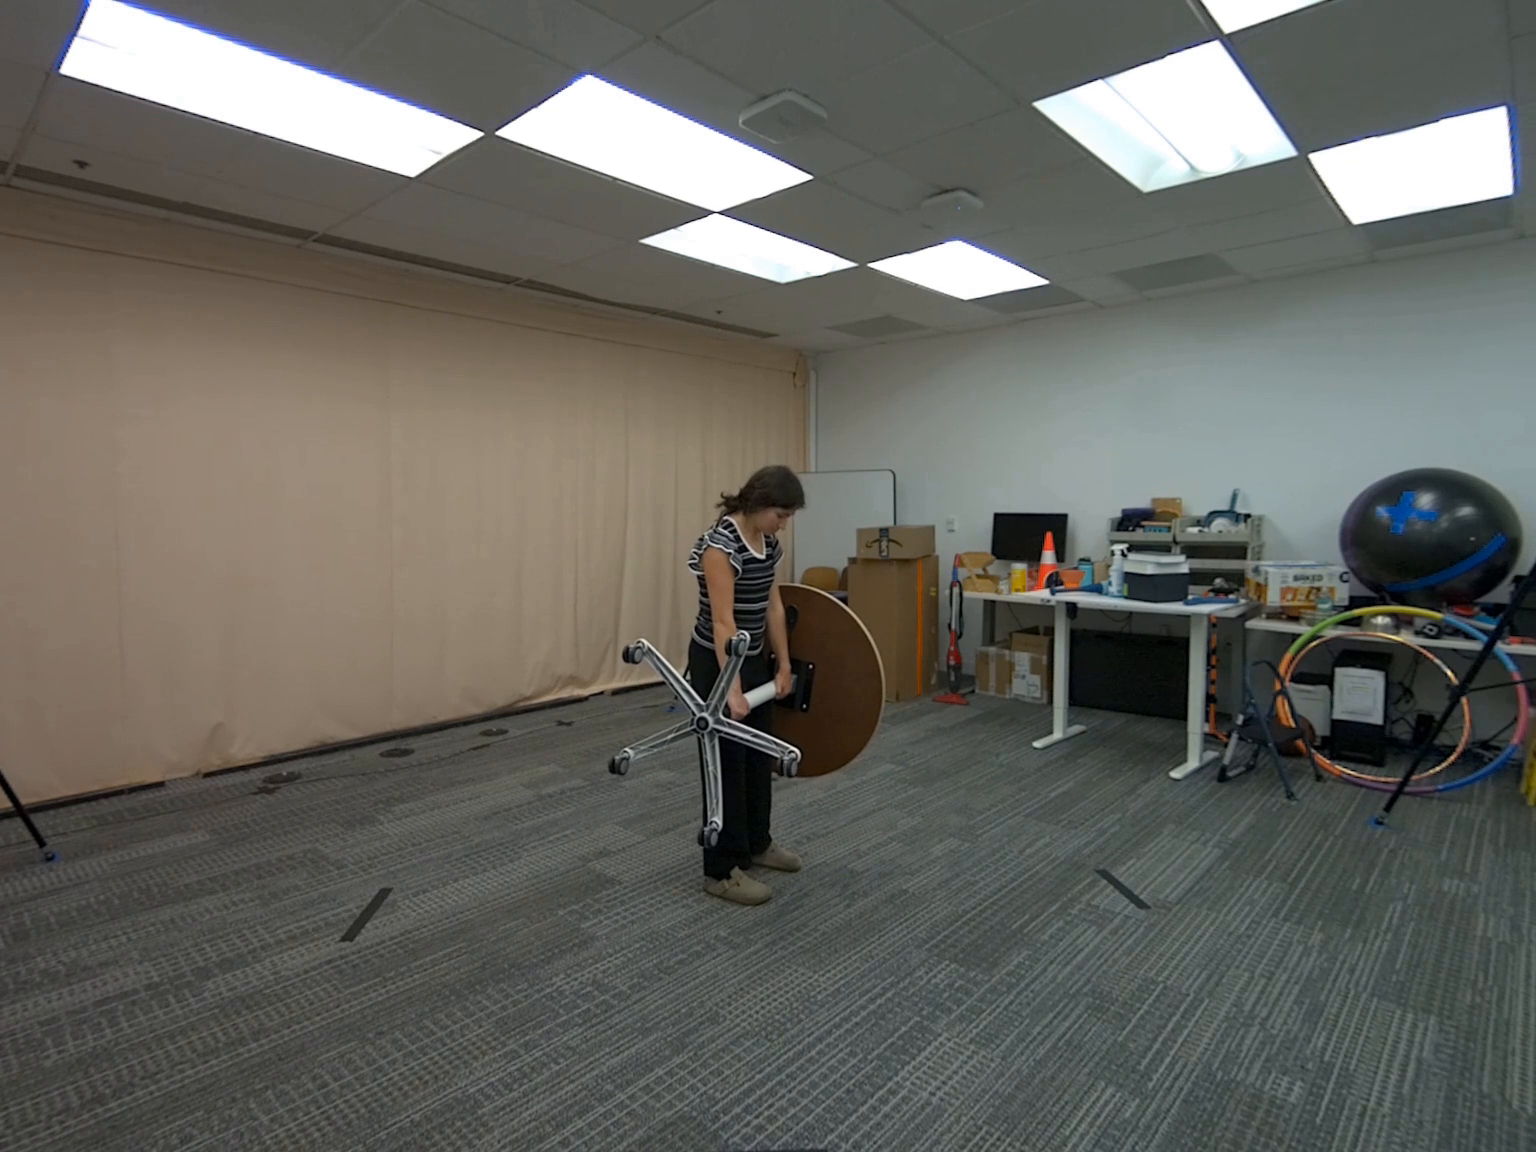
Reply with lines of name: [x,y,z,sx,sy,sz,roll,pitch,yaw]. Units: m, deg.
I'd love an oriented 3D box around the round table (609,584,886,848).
round table: [-0.072,0.461,2.988,0.785,0.761,0.774,2,6,28]
